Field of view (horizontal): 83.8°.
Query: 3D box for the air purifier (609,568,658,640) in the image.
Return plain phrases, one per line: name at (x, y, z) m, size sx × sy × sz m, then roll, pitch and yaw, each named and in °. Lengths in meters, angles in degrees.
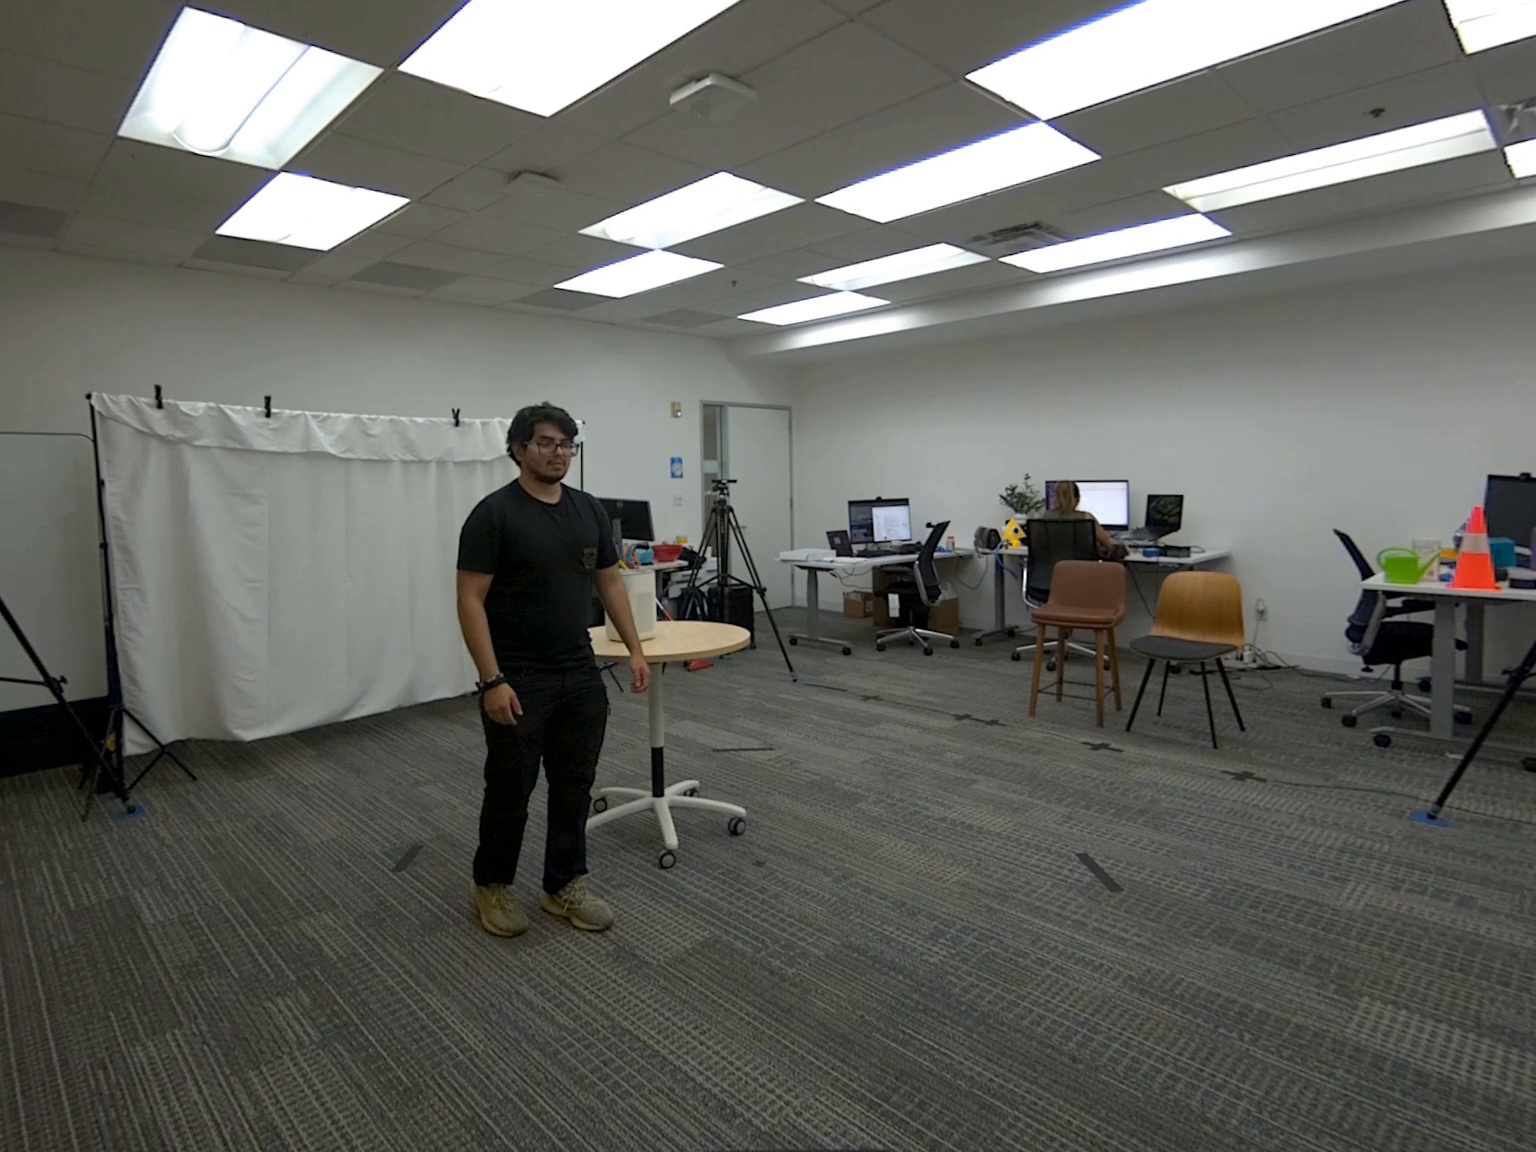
air purifier at (-0.536, 0.112, 3.357) m, size 0.173 × 0.262 × 0.169 m, roll 0°, pitch 3°, yaw 42°
